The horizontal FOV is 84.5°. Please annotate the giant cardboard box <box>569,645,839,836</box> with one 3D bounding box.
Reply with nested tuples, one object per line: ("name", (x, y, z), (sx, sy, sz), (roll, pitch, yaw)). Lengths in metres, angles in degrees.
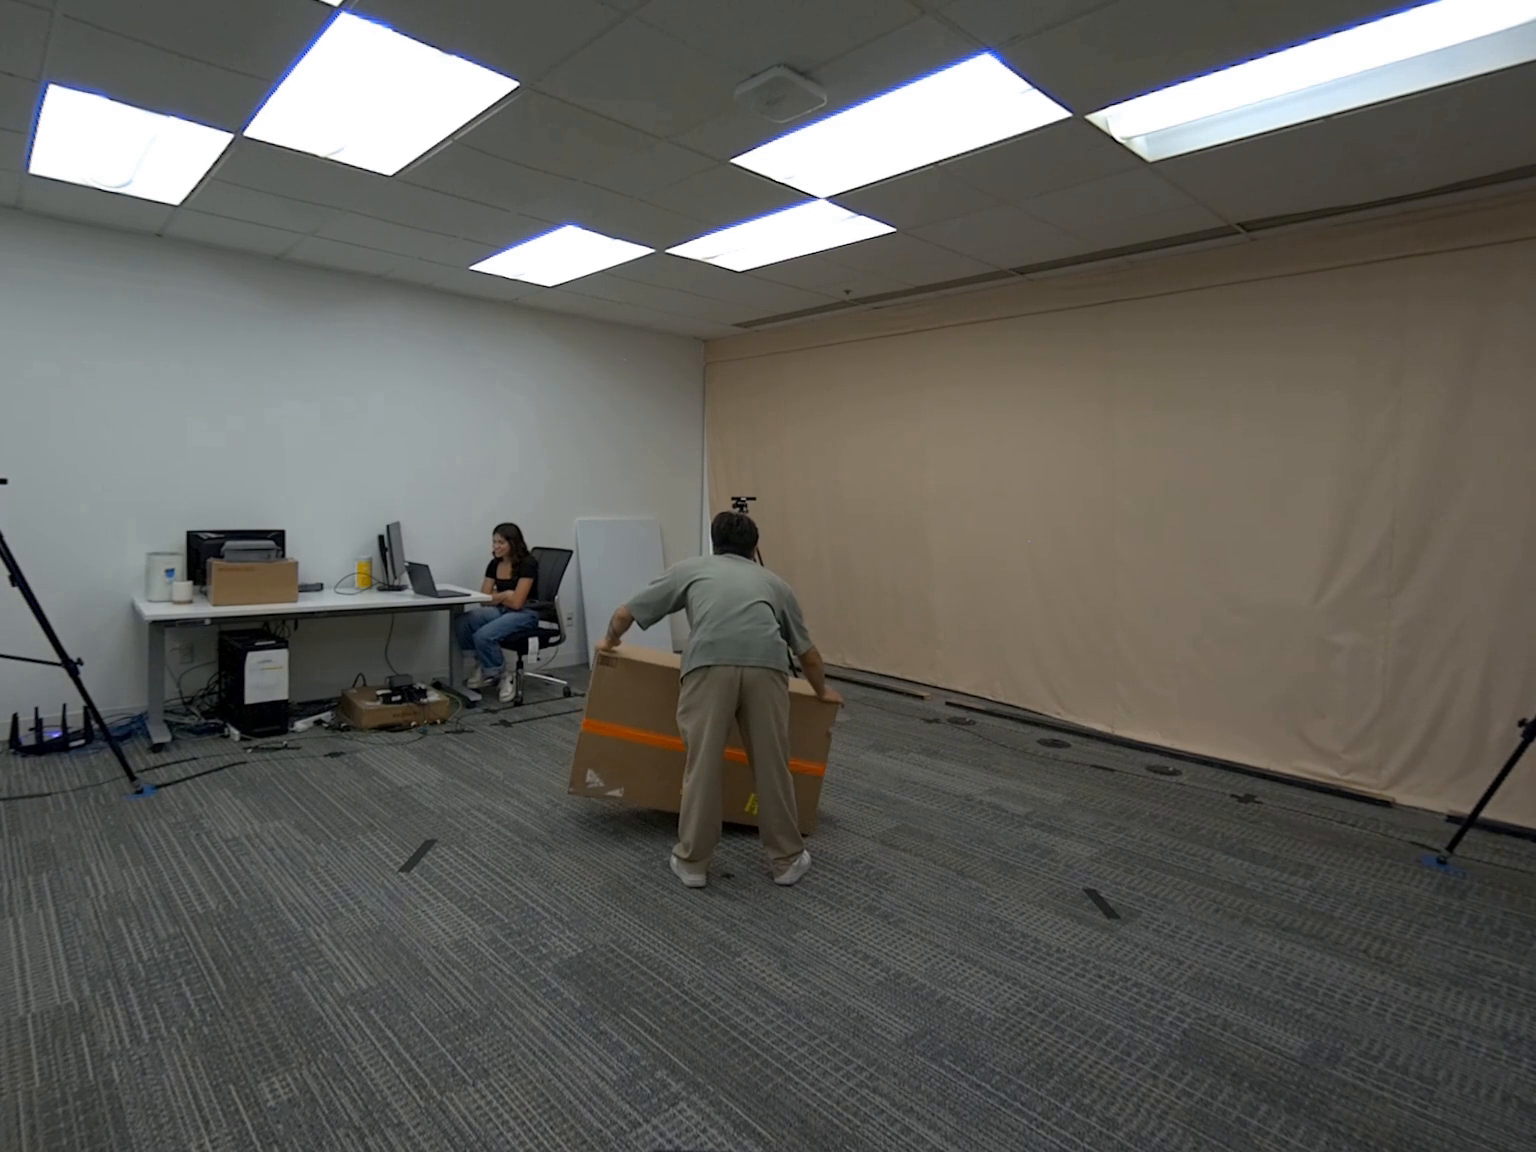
("giant cardboard box", (-0.294, 0.679, 3.627), (1.017, 0.577, 0.430), (12, 0, -9))
